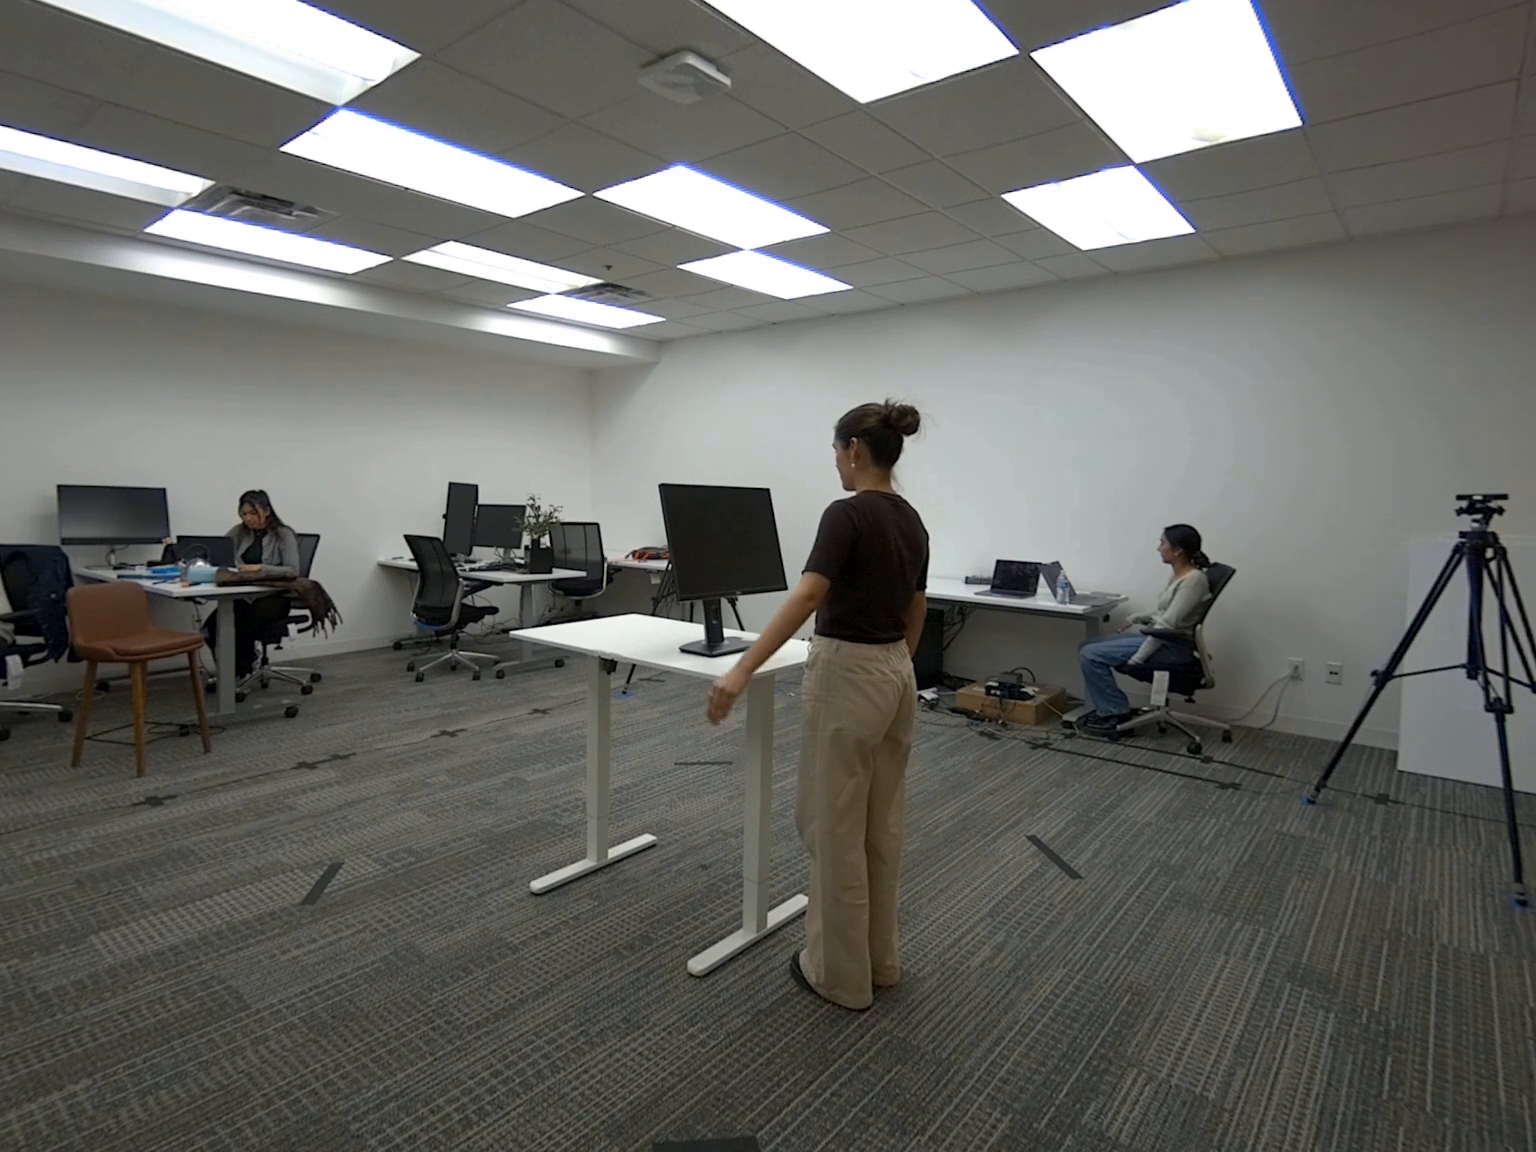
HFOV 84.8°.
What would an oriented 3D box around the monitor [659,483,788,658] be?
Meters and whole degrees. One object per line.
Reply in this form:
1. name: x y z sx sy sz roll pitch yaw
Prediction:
1. monitor: -0.159 -0.024 2.686 0.193 0.522 0.523 0 2 36
